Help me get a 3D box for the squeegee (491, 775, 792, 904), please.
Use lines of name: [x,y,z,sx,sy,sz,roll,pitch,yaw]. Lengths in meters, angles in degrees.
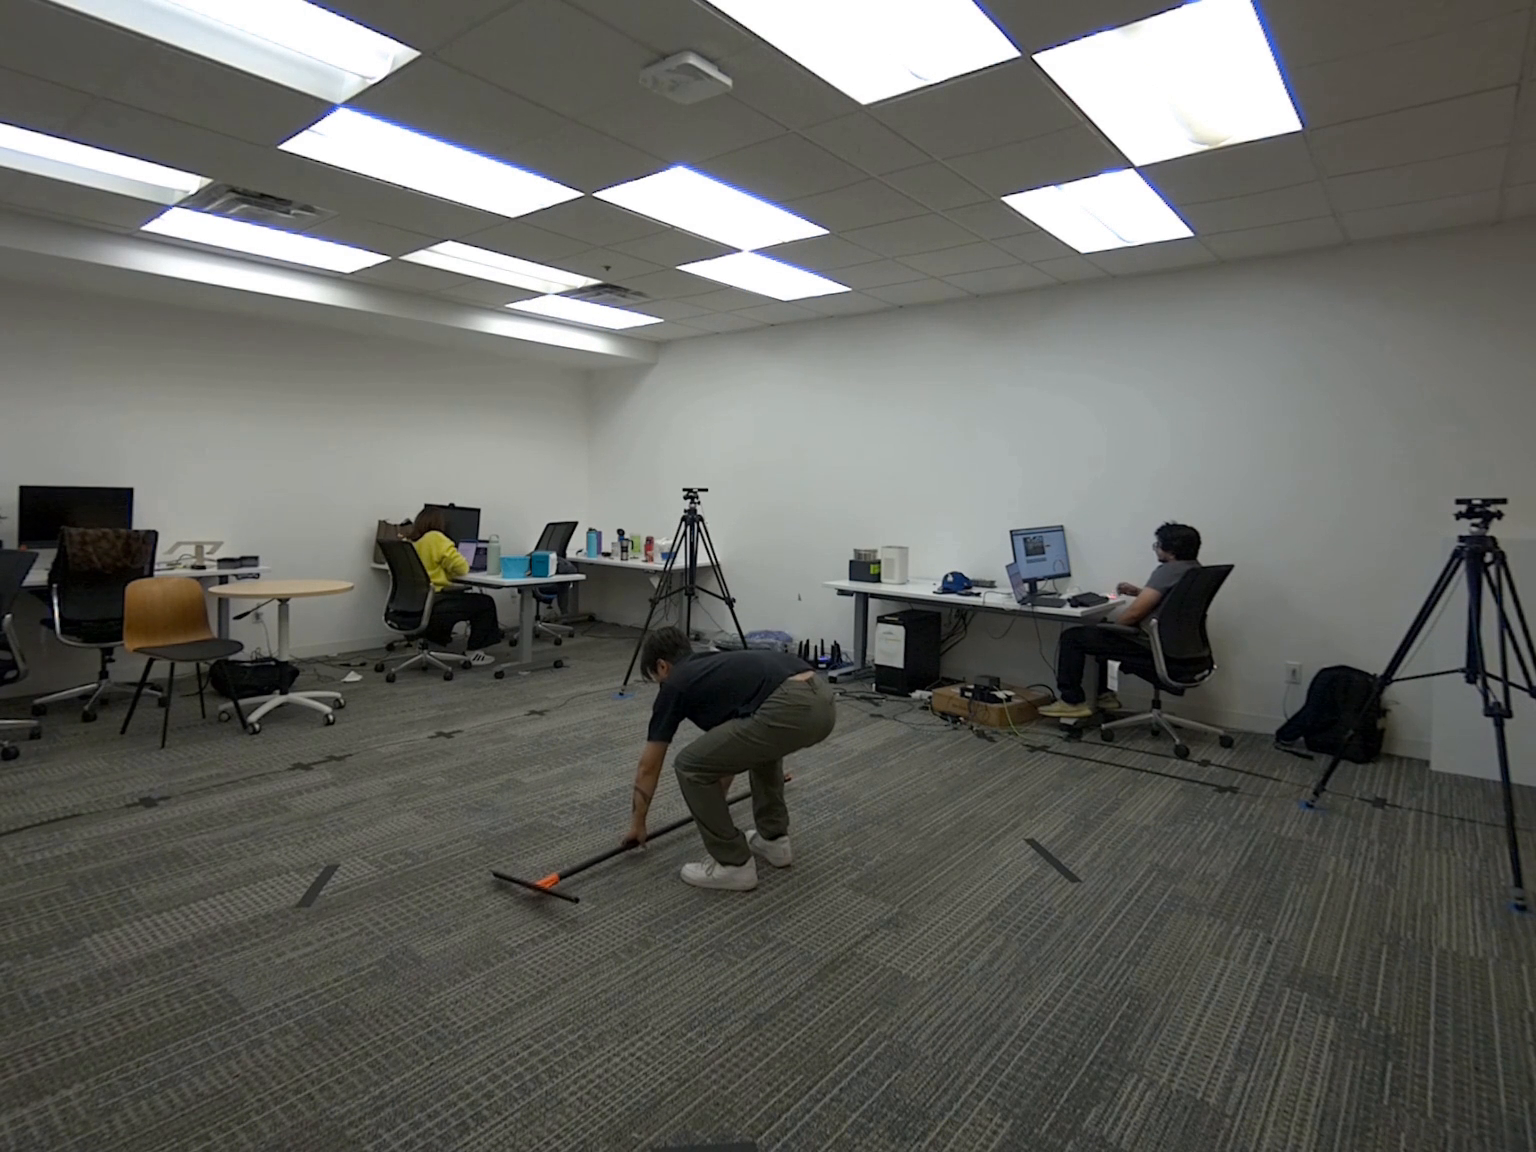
squeegee: [-0.359,0.976,3.414,0.450,0.053,1.493,-3,2,38]
